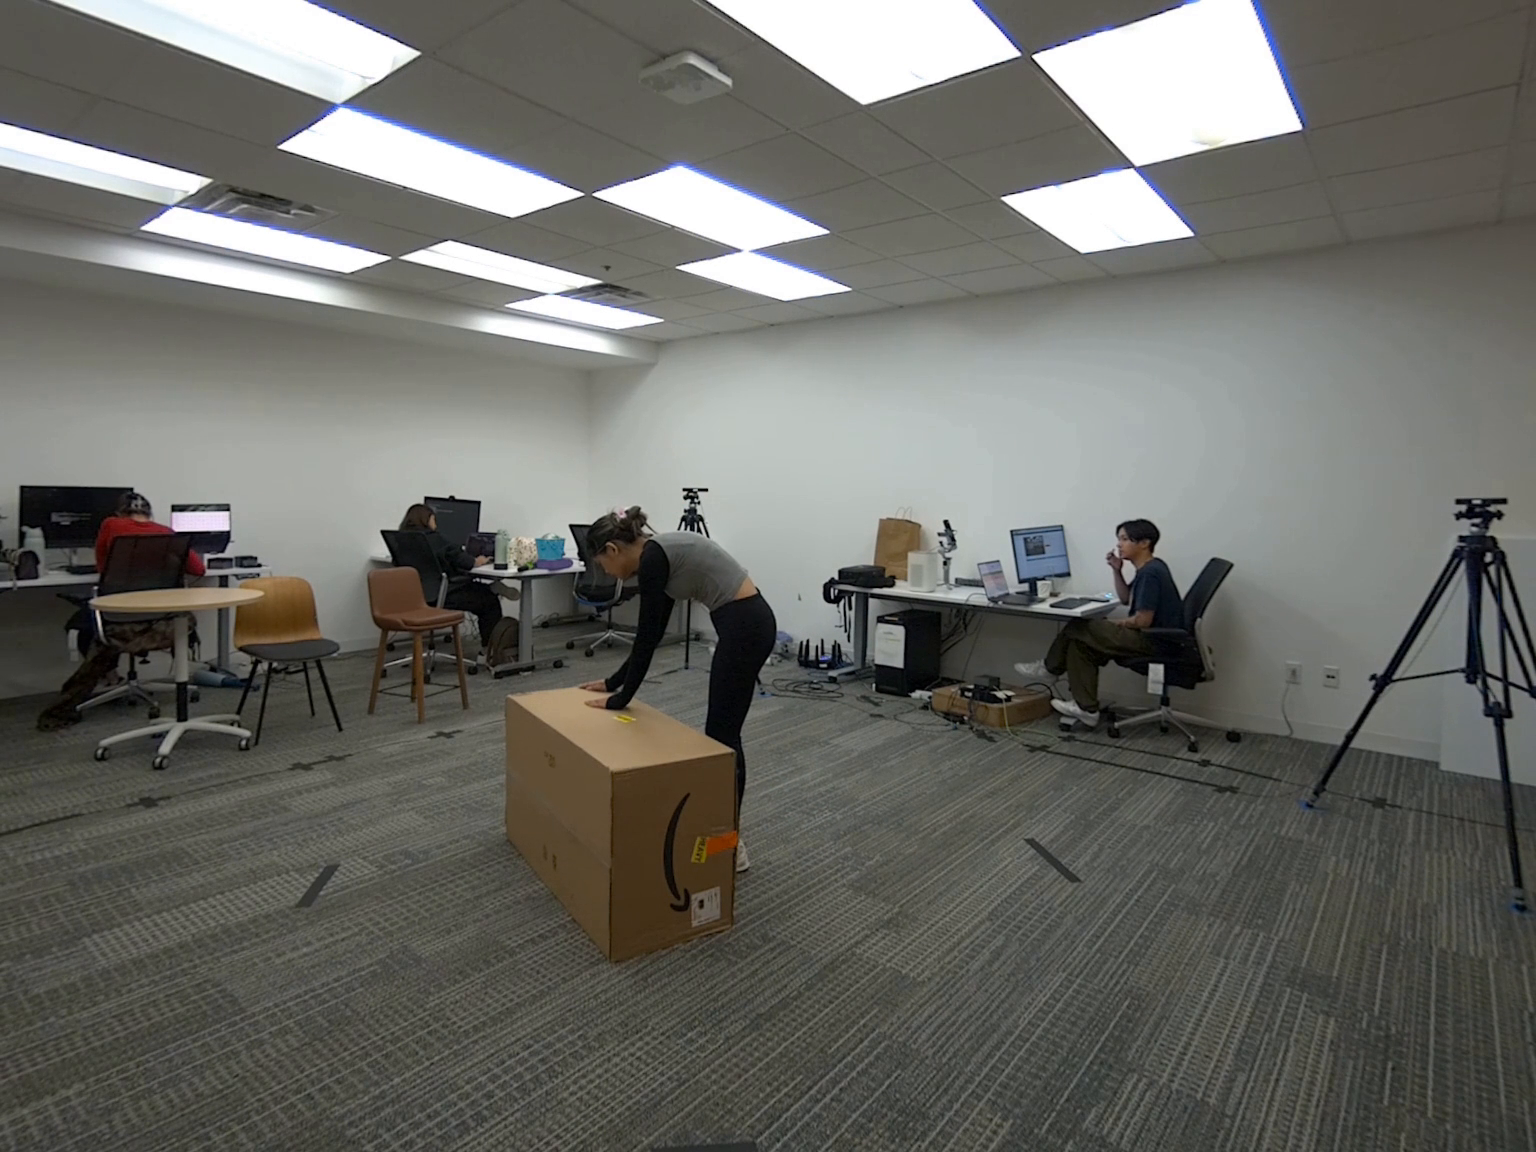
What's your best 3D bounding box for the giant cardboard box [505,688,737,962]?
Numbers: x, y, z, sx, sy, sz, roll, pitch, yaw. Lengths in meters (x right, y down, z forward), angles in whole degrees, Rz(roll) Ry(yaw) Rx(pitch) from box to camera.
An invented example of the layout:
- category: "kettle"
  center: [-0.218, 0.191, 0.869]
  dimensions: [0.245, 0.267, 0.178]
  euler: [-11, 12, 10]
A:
- category: "giant cardboard box"
  center: [-0.576, 0.786, 2.999]
  dimensions: [0.414, 0.575, 1.059]
  euler: [-1, 6, -33]
